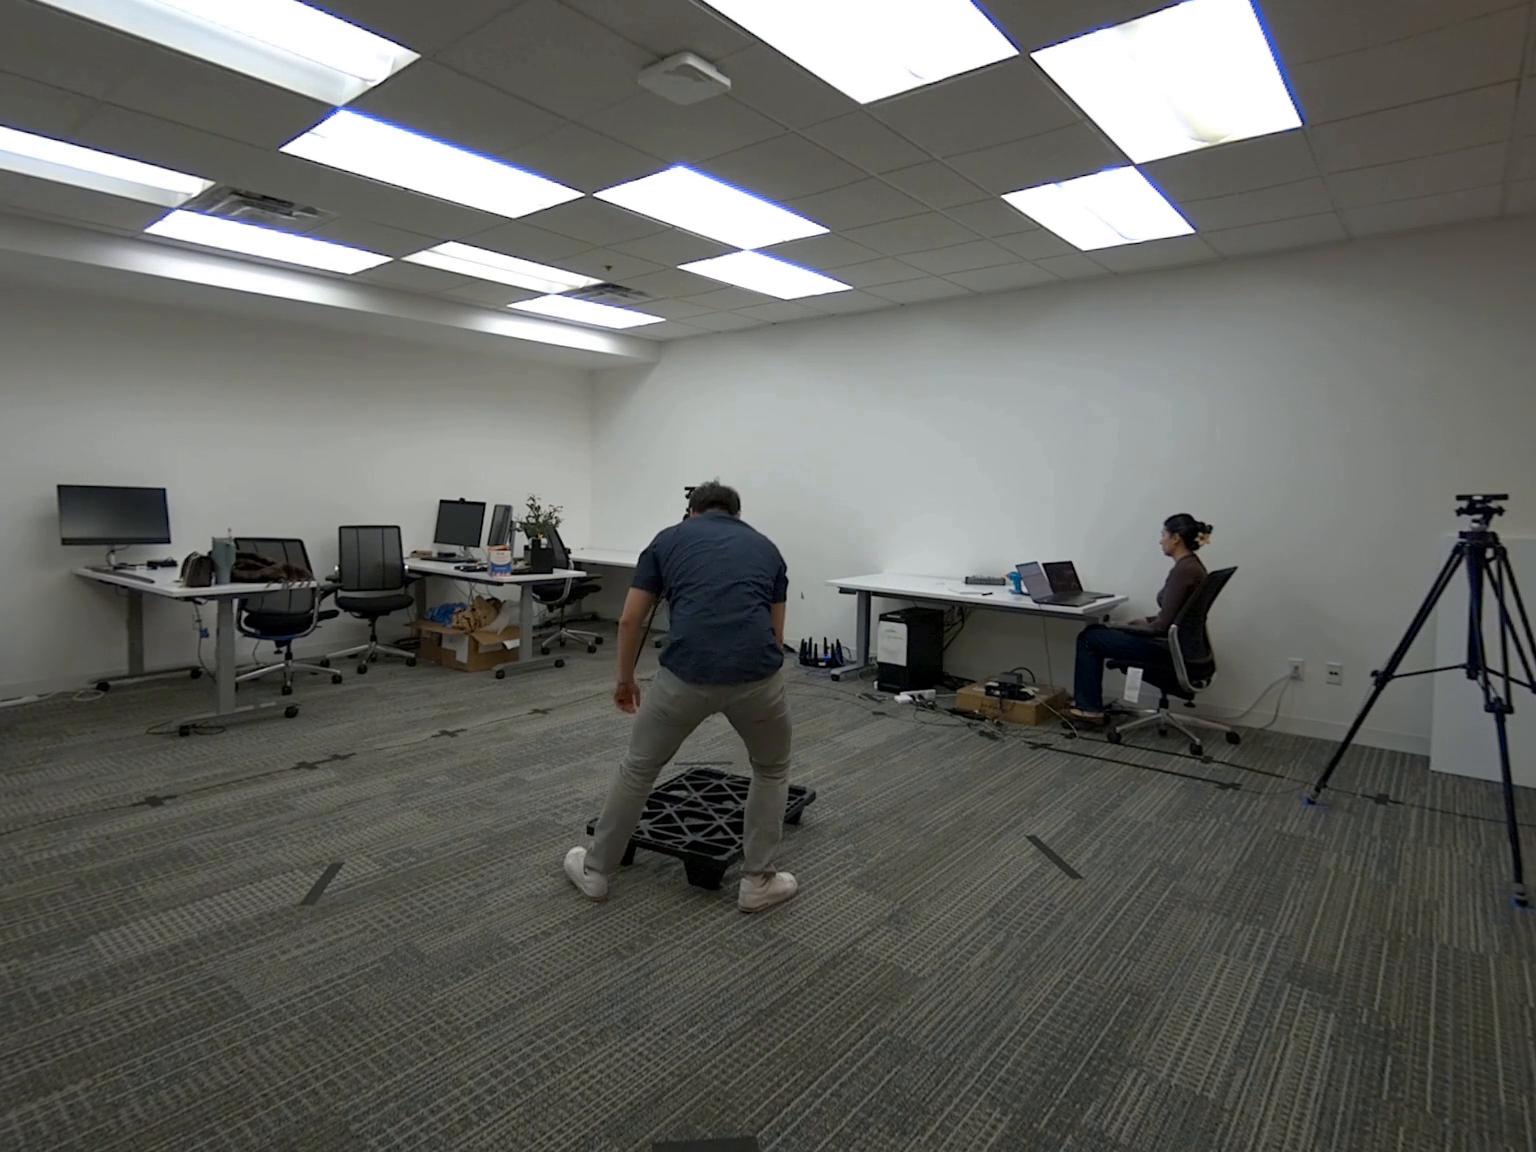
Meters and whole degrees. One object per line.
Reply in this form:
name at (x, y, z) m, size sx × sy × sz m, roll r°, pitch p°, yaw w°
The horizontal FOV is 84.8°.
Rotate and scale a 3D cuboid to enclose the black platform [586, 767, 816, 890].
black platform at (-0.249, 0.973, 3.359) m, size 0.622 × 0.143 × 0.786 m, roll 3°, pitch 6°, yaw 27°
